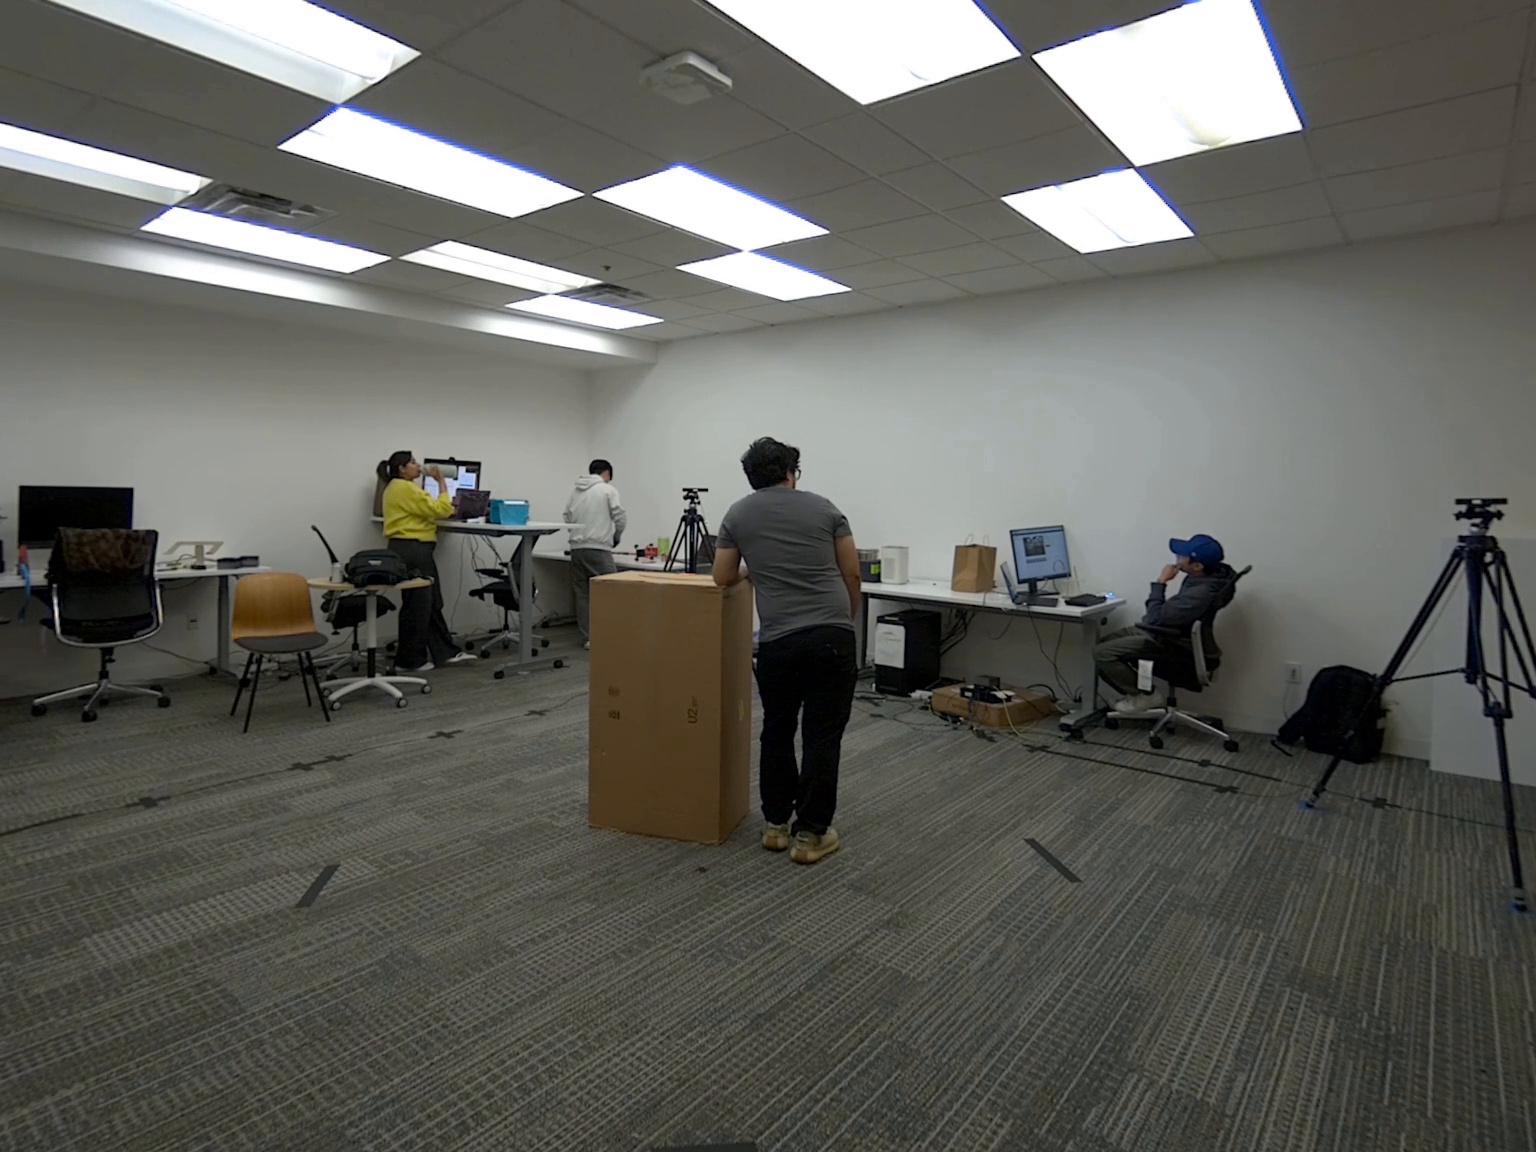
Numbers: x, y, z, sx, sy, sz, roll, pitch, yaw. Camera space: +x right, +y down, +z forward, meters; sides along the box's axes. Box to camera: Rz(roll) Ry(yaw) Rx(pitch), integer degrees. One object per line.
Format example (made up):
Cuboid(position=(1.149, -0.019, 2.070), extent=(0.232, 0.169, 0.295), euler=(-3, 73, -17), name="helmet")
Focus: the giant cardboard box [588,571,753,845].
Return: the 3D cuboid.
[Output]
Cuboid(position=(-0.418, 0.512, 3.586), extent=(0.589, 1.023, 0.419), euler=(2, 3, 19), name="giant cardboard box")
